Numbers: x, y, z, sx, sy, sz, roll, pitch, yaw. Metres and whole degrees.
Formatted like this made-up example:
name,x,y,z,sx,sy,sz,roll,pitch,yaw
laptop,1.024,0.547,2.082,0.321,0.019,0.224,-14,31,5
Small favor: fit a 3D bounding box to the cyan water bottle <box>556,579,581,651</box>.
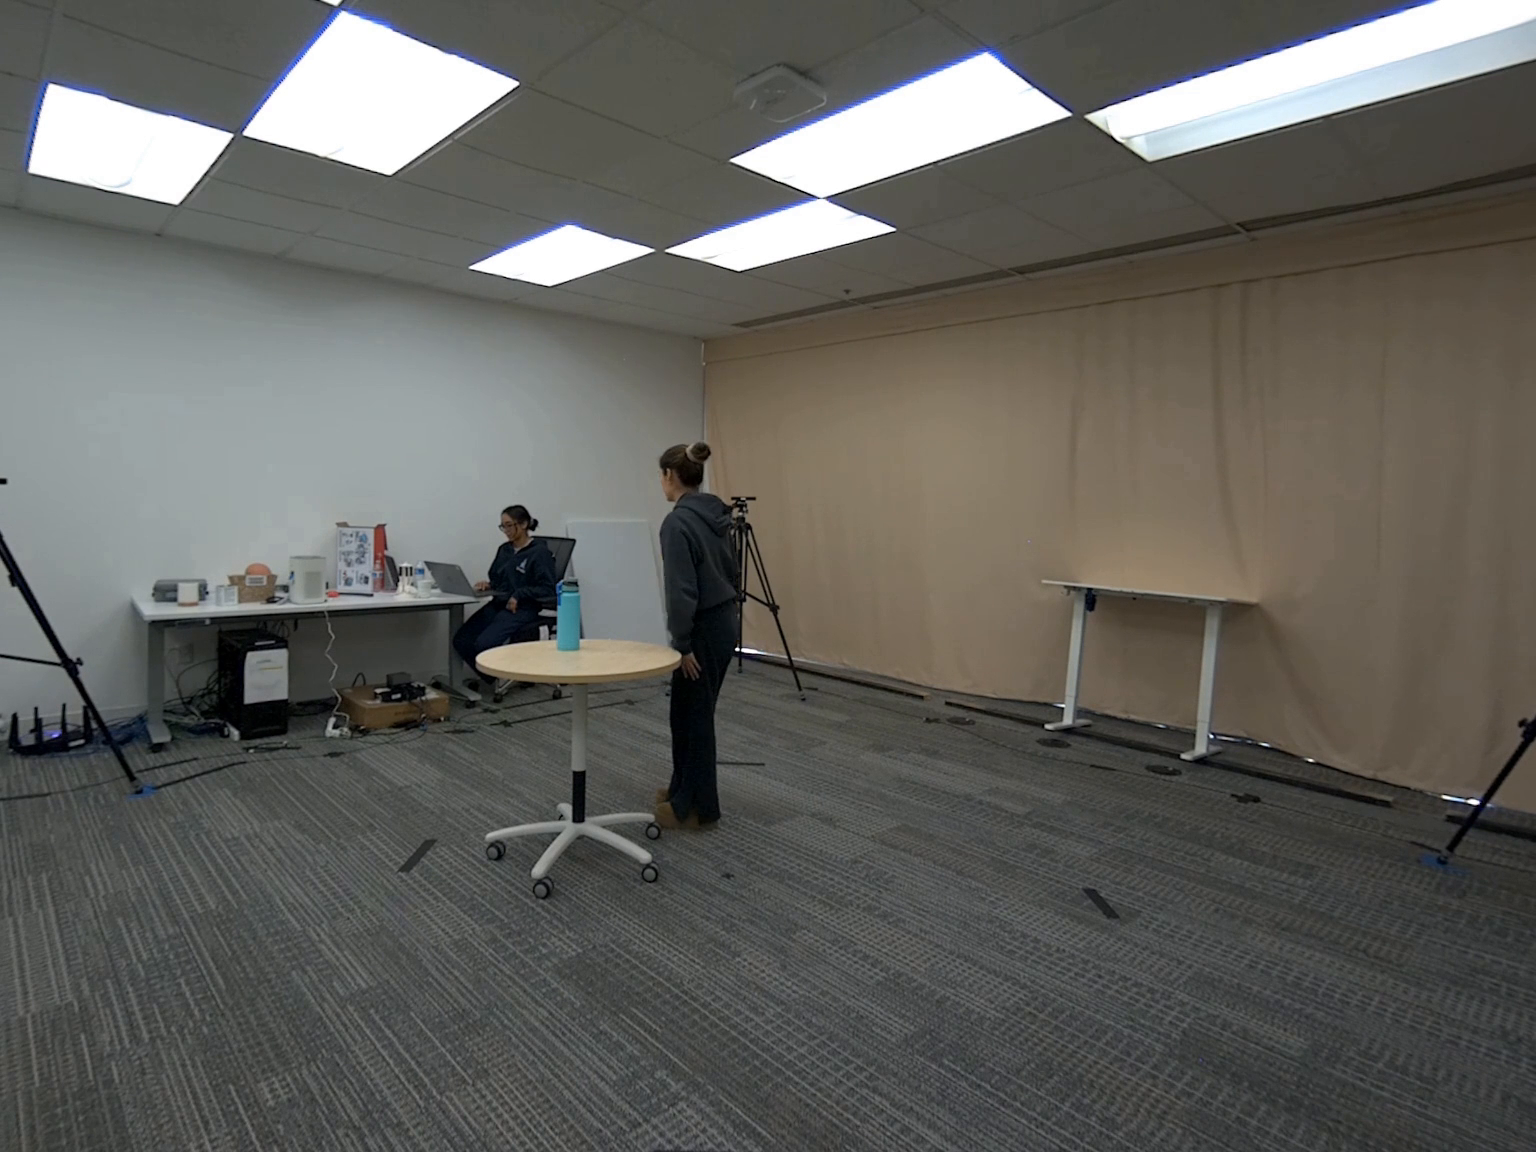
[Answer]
name,x,y,z,sx,sy,sz,roll,pitch,yaw
cyan water bottle,-0.806,0.151,3.325,0.092,0.283,0.092,-2,1,-1
